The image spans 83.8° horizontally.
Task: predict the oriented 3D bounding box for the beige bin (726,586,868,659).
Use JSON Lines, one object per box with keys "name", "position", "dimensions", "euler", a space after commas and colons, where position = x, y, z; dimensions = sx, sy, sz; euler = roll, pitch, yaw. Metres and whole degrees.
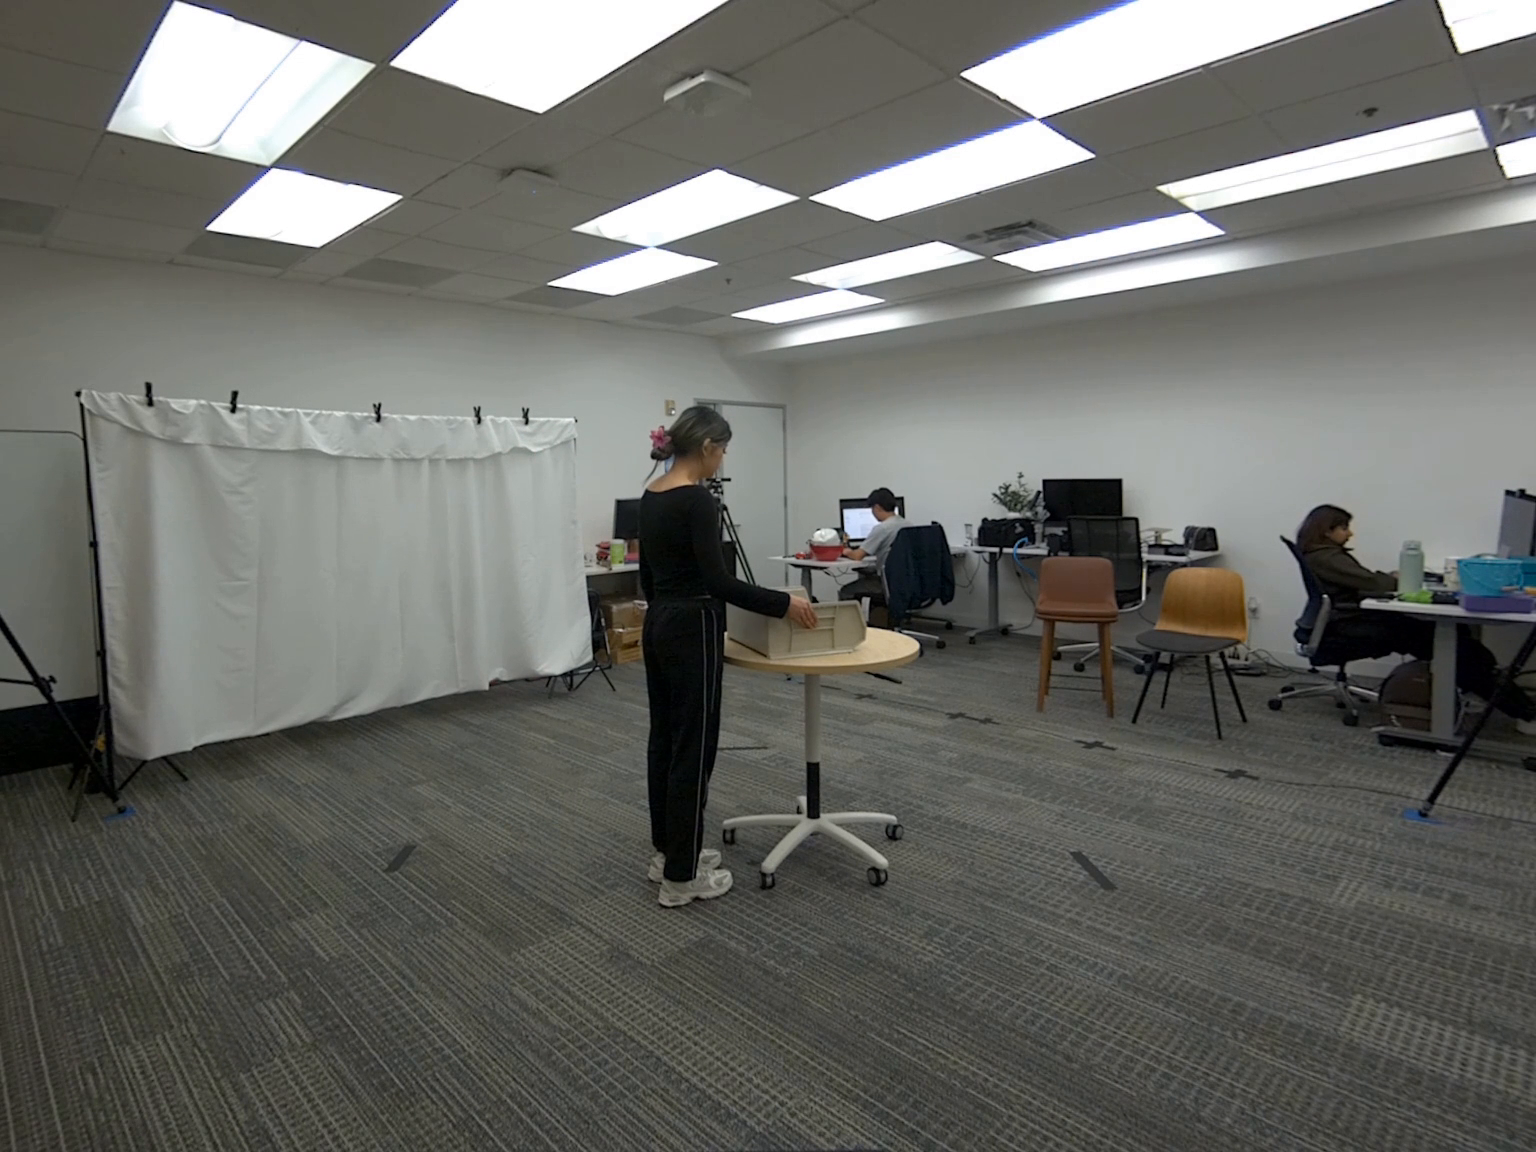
{"name": "beige bin", "position": [0.085, 0.156, 3.078], "dimensions": [0.370, 0.188, 0.433], "euler": [-4, 8, -22]}
